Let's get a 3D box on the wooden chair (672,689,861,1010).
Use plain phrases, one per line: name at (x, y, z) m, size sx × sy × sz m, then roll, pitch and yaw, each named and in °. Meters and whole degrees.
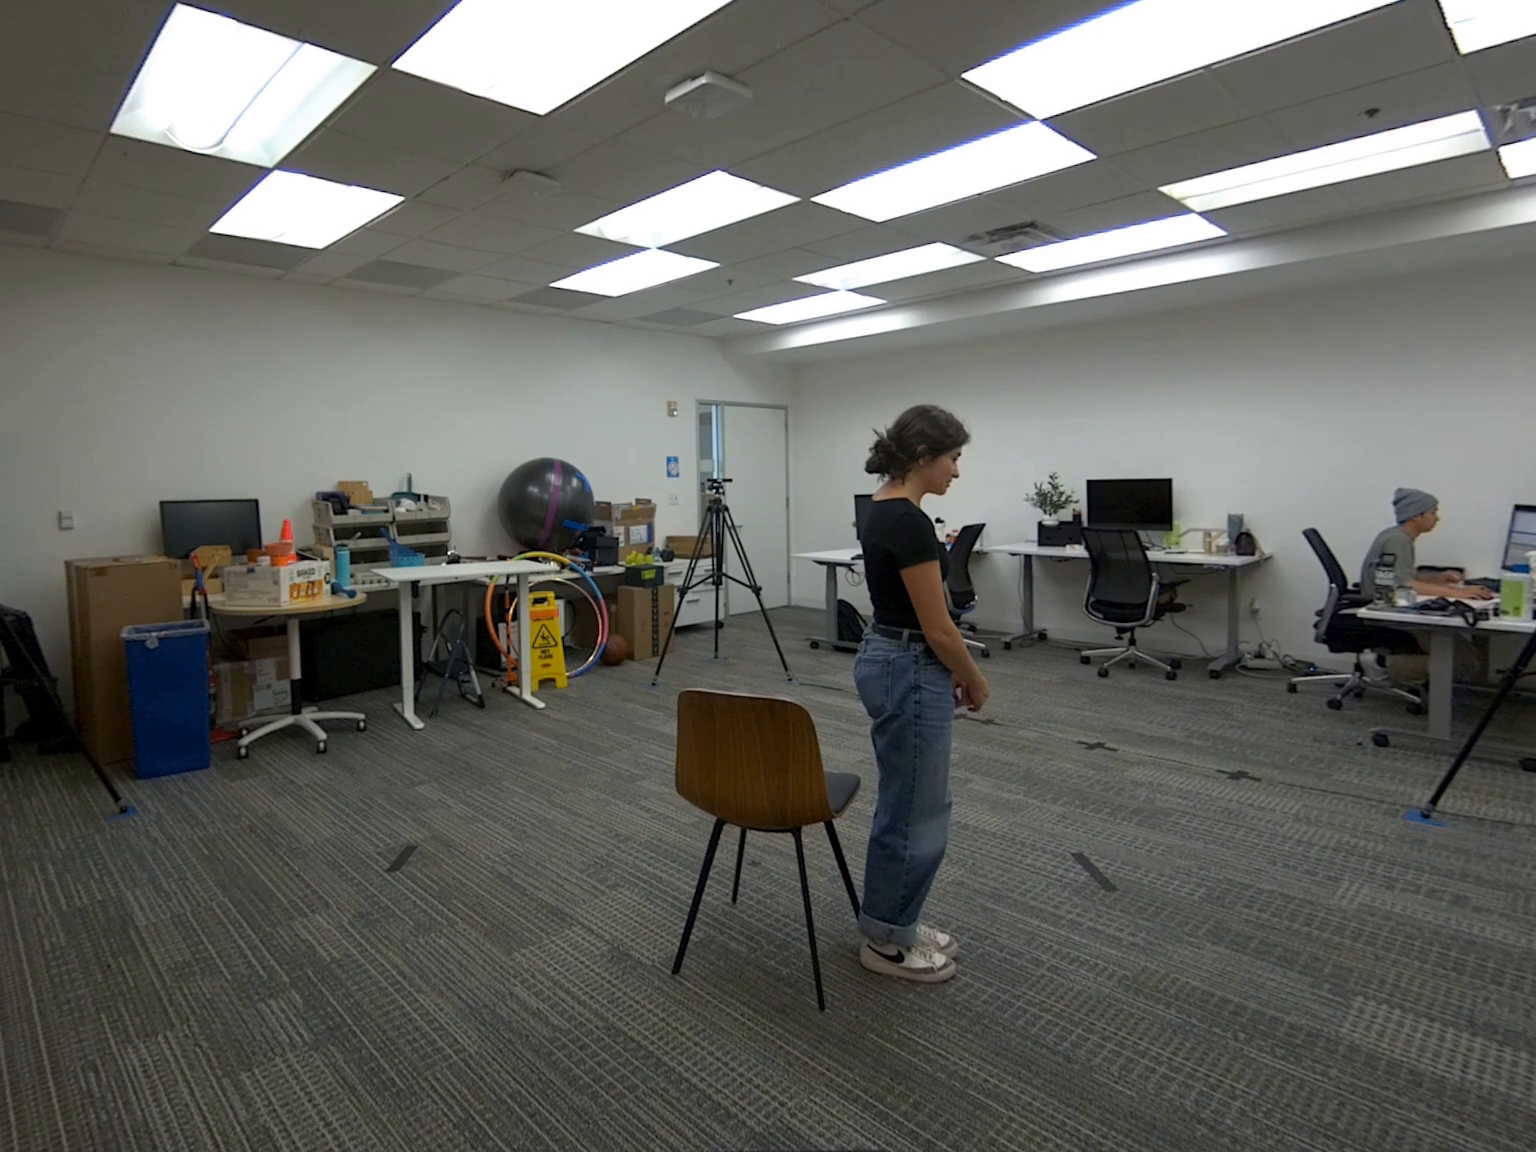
wooden chair at (0.011, 0.686, 2.509) m, size 0.488 × 0.870 × 0.516 m, roll 1°, pitch 9°, yaw 22°
